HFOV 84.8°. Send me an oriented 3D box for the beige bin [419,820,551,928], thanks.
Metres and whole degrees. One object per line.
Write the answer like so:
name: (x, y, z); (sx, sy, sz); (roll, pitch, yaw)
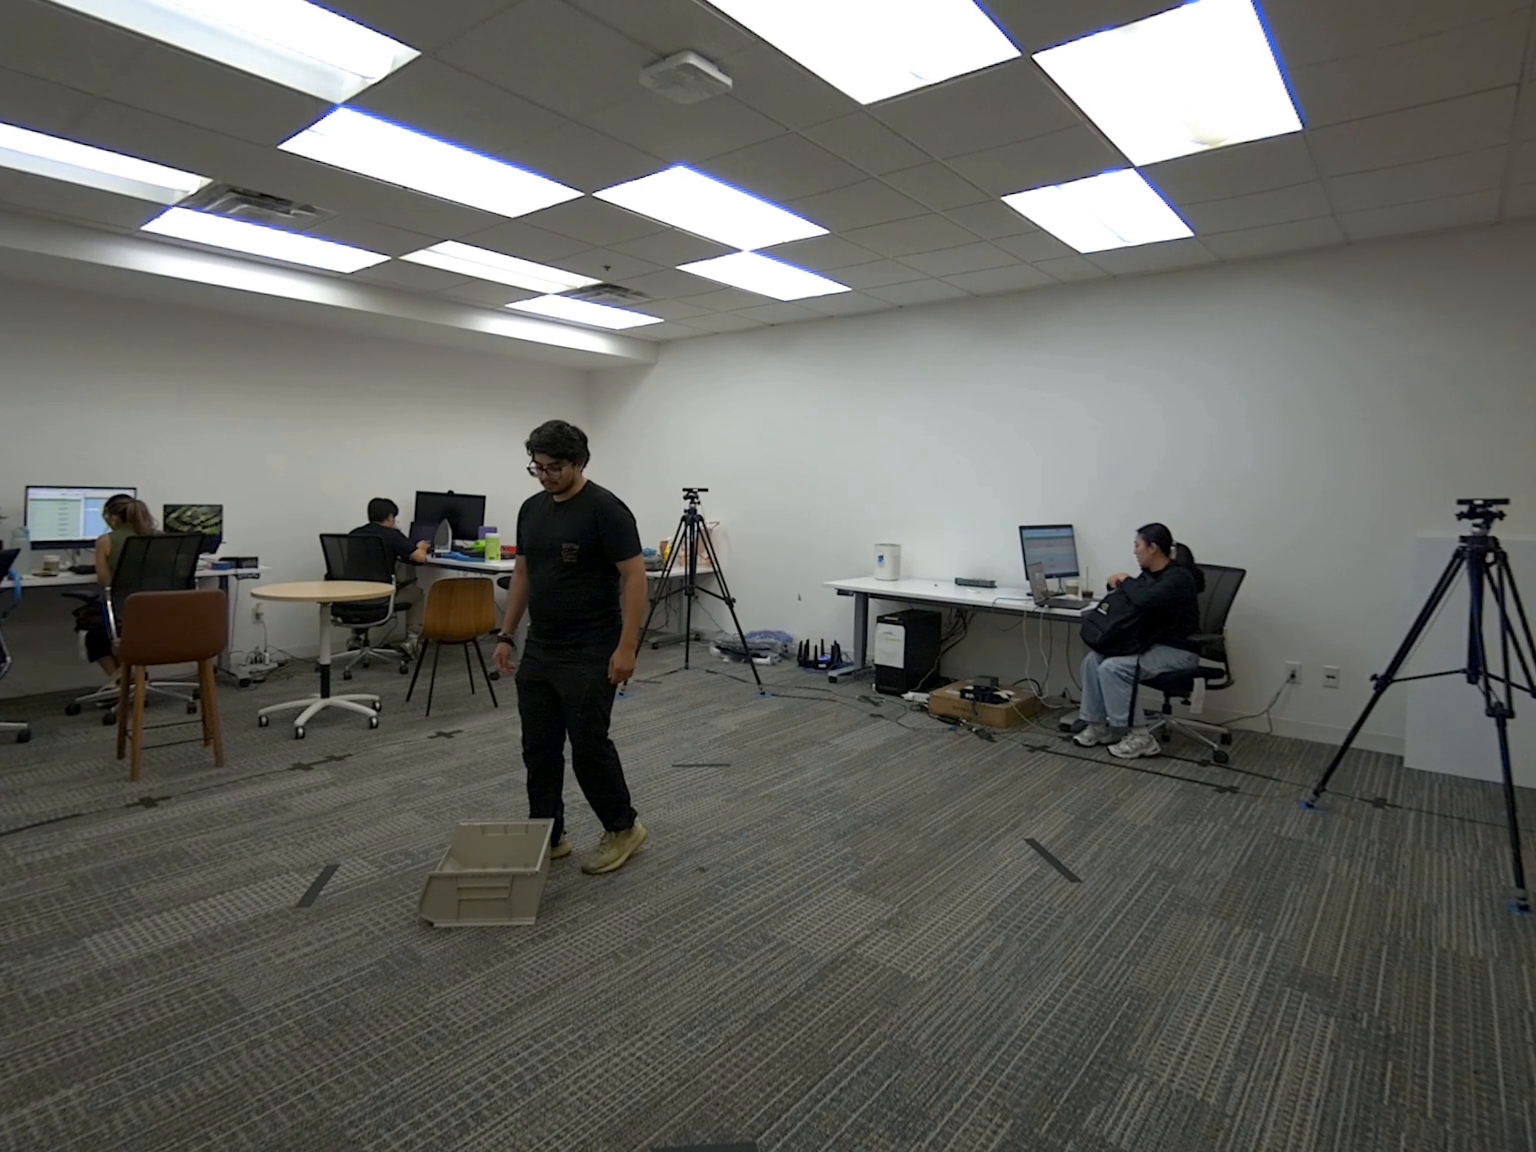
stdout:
beige bin: (-0.965, 1.002, 2.870); (0.375, 0.188, 0.426); (1, 4, -6)
